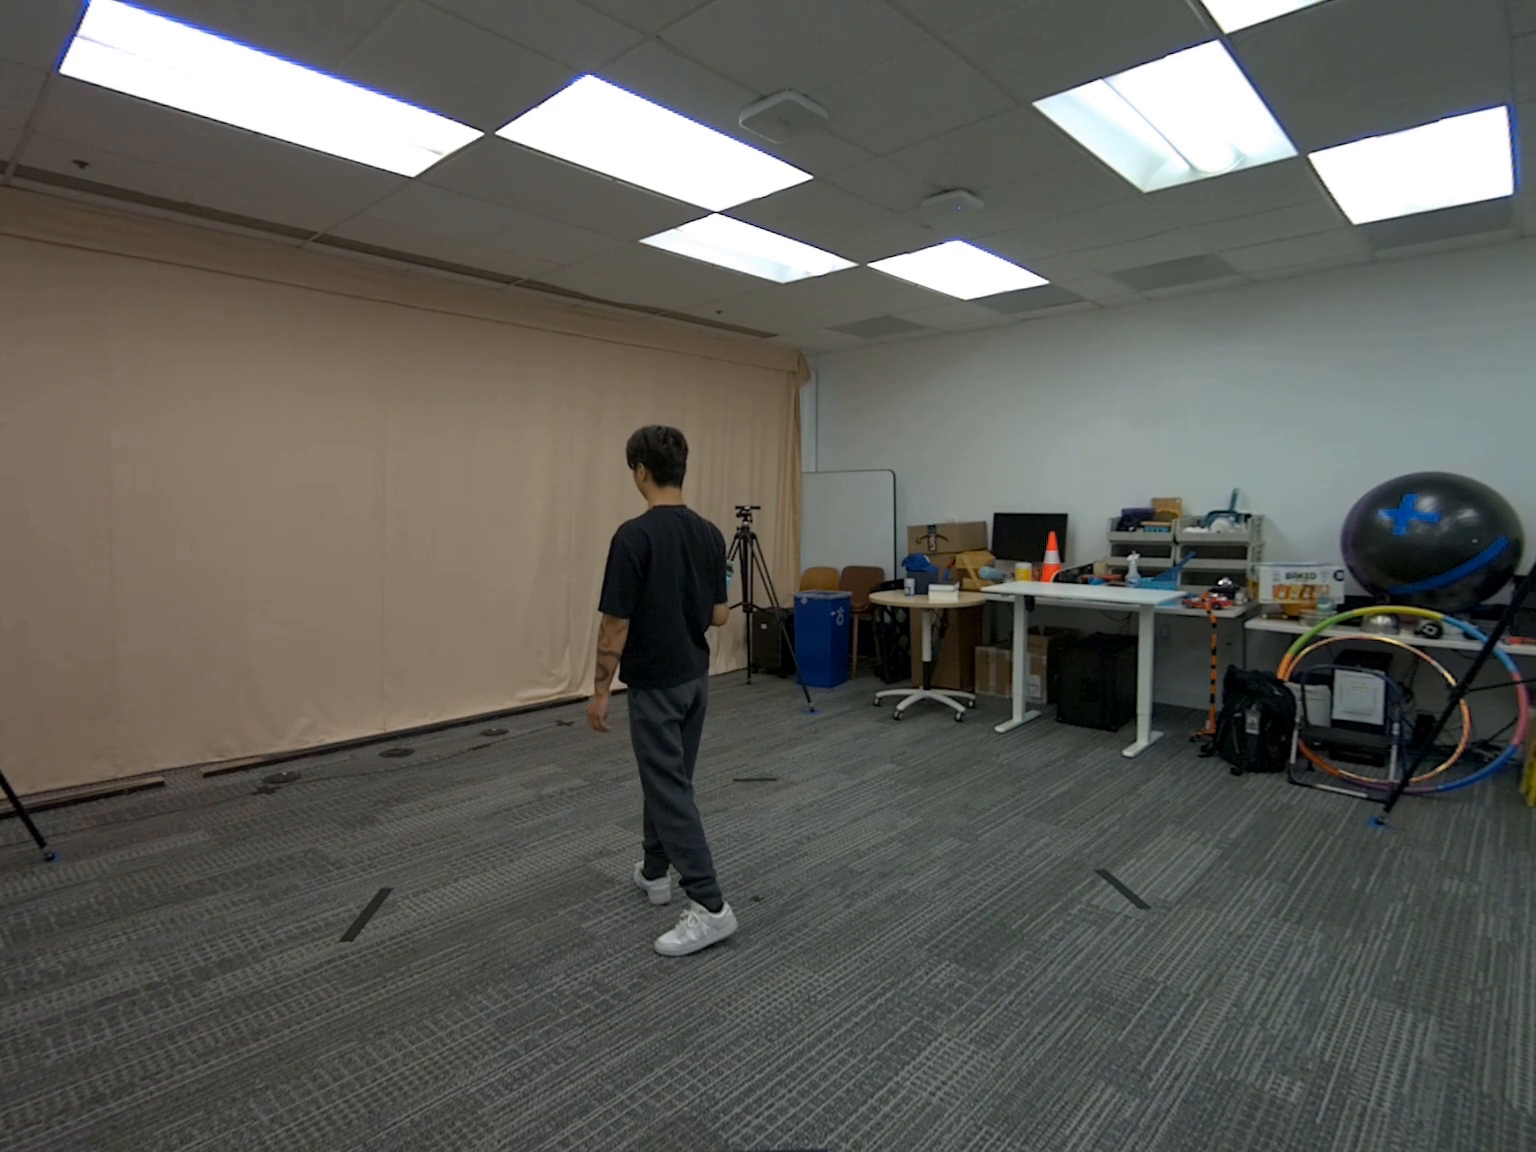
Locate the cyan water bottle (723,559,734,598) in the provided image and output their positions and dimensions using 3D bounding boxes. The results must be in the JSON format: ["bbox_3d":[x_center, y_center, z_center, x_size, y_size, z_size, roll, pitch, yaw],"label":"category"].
[{"bbox_3d":[-0.213,0.061,3.240,0.092,0.283,0.093,22,3,-3],"label":"cyan water bottle"}]
